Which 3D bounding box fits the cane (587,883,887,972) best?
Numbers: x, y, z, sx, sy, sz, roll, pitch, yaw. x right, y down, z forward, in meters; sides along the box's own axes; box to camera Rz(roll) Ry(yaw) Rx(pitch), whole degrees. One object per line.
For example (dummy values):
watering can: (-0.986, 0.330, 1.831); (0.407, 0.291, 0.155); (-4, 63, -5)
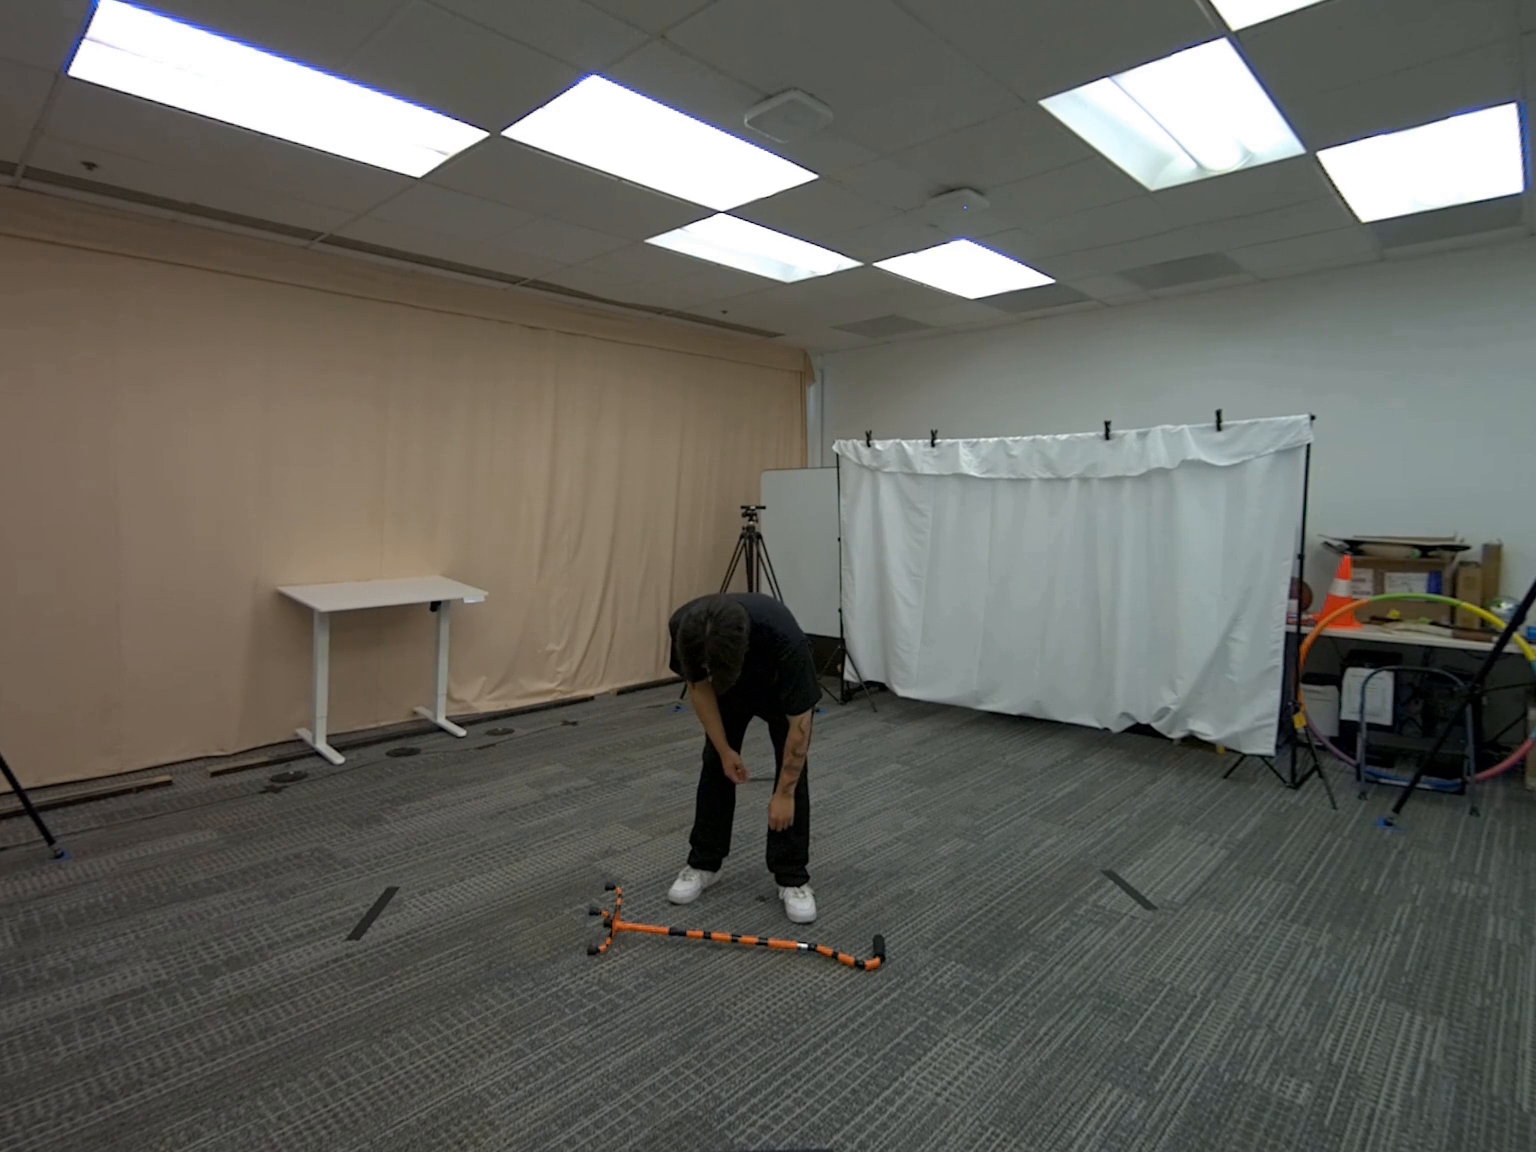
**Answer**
cane: (-0.089, 1.118, 2.636); (0.916, 0.151, 0.205); (4, 5, 8)
